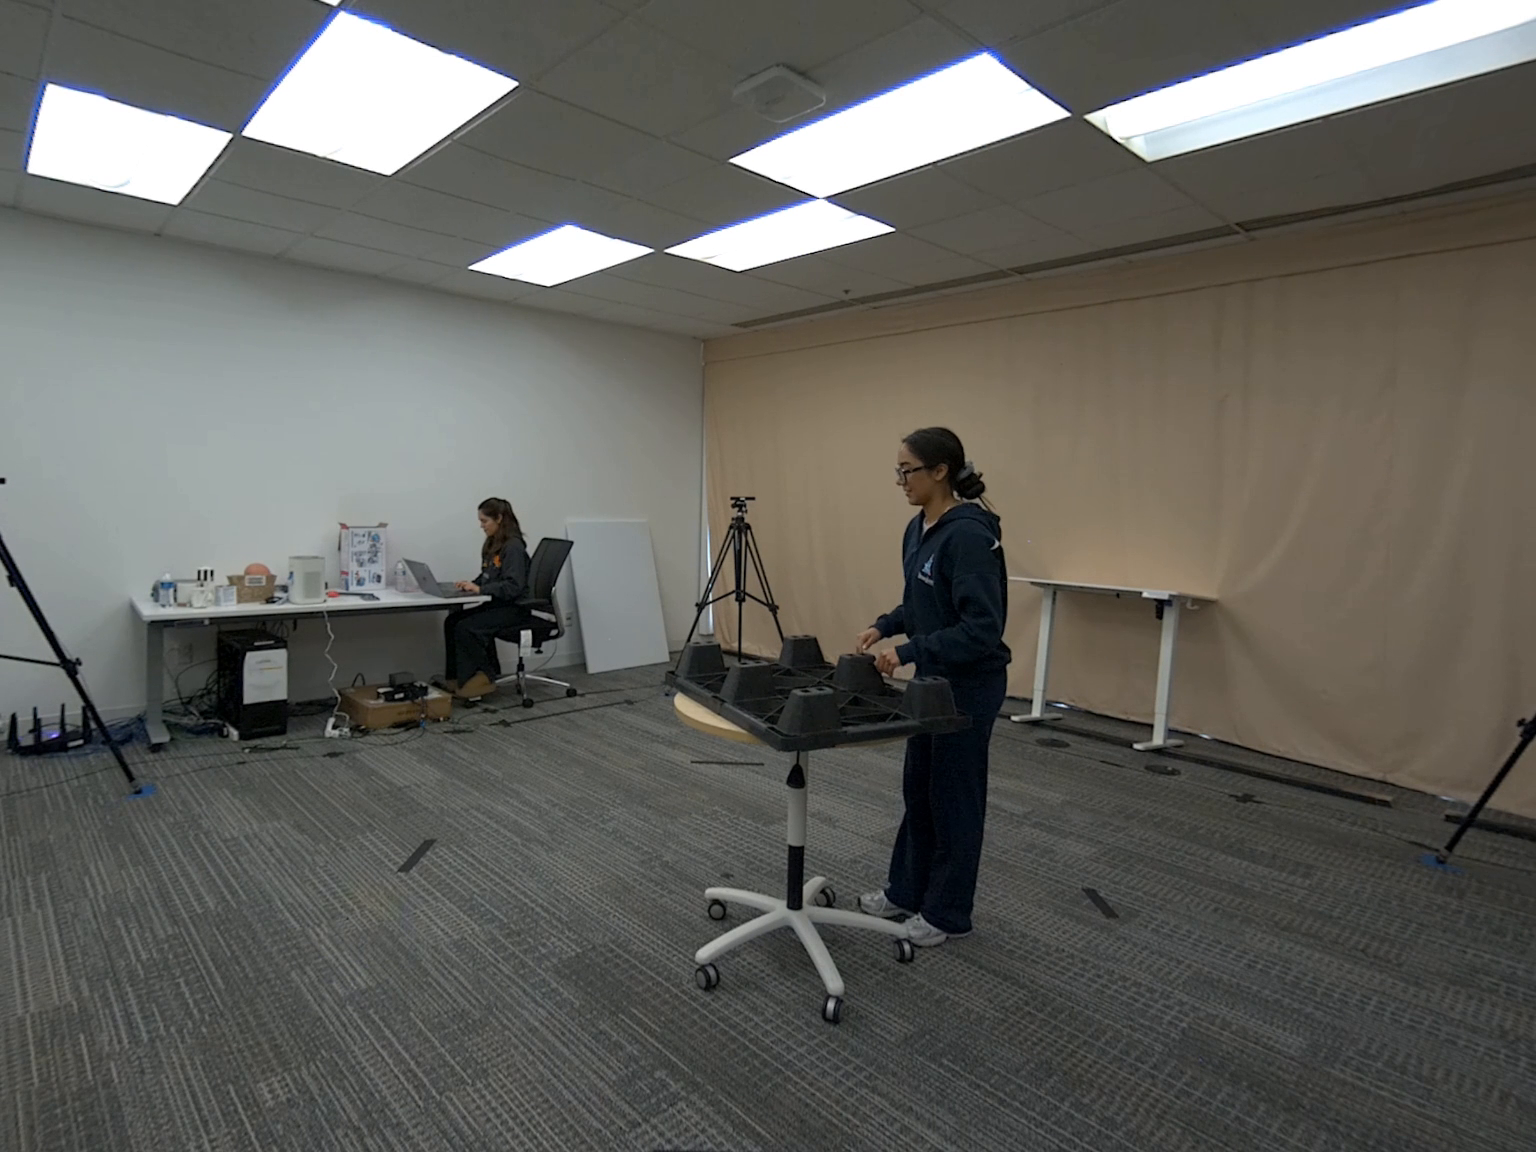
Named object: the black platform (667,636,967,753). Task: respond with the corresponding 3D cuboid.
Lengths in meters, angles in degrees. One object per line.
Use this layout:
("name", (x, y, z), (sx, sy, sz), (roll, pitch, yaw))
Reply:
("black platform", (0.101, 0.316, 2.518), (0.594, 0.143, 0.823), (-2, 6, -27))
